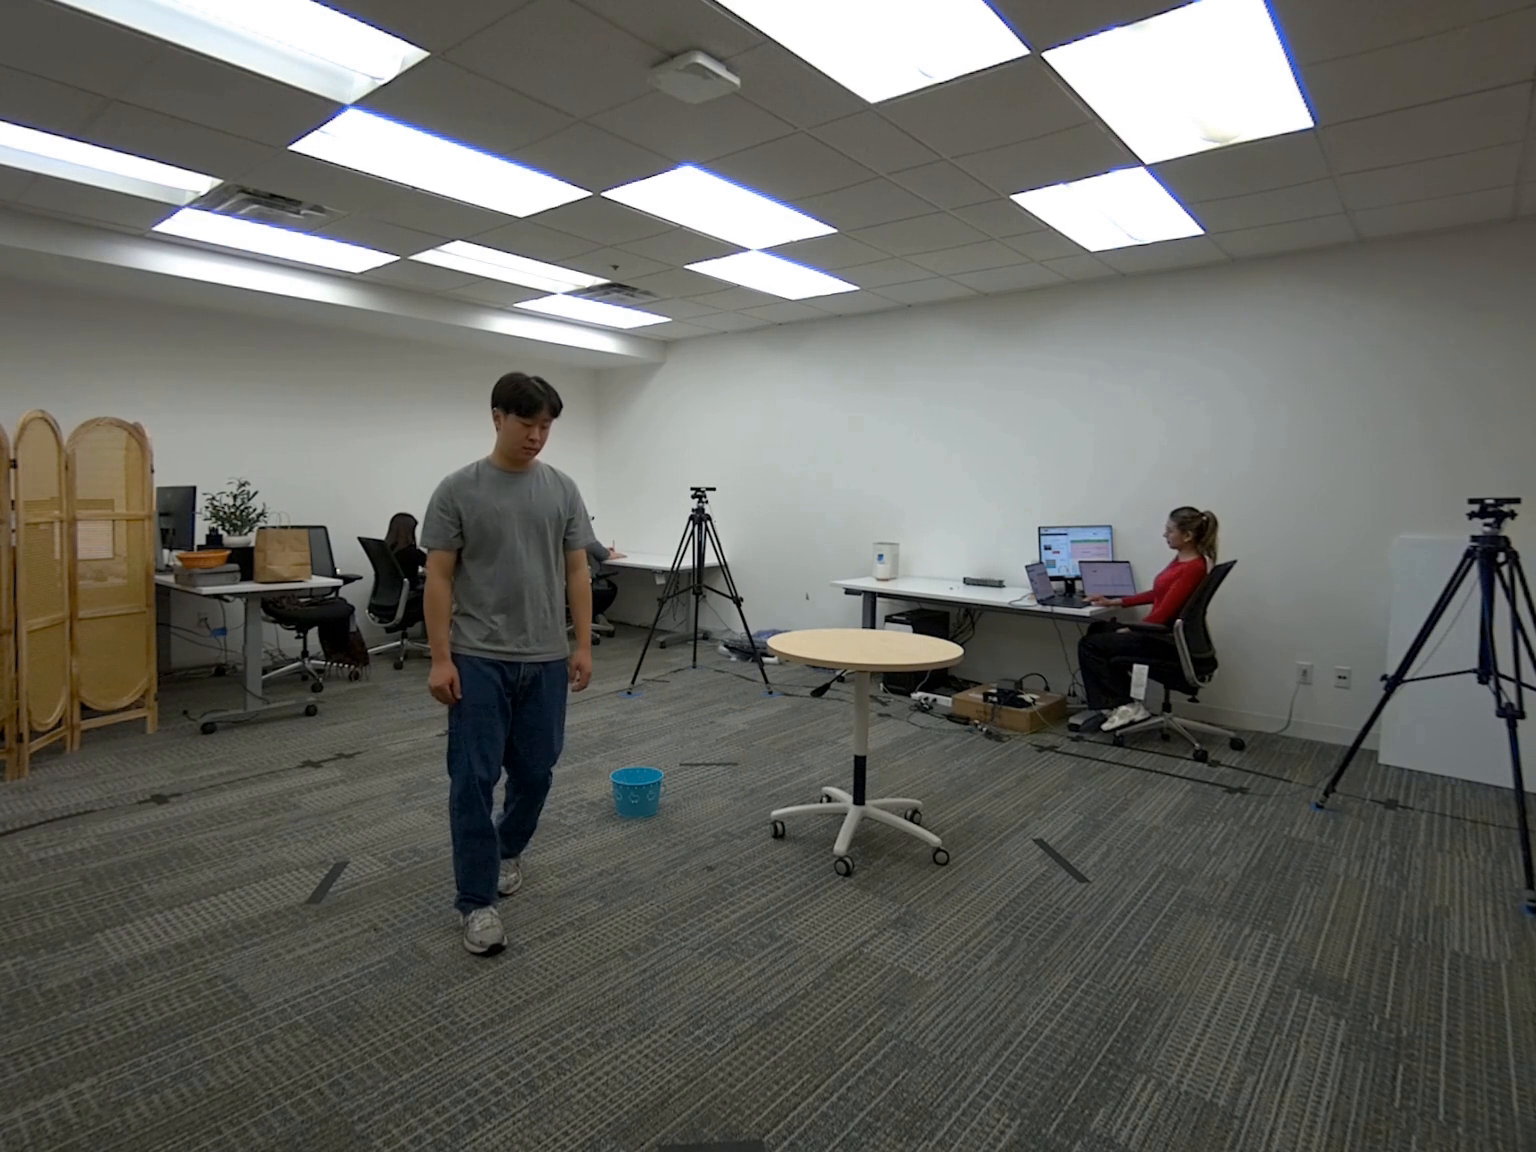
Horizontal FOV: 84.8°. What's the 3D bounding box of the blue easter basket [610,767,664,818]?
[{"bbox_3d":[-0.570,0.927,3.665,0.243,0.155,0.245,0,6,-2],"label":"blue easter basket"}]
